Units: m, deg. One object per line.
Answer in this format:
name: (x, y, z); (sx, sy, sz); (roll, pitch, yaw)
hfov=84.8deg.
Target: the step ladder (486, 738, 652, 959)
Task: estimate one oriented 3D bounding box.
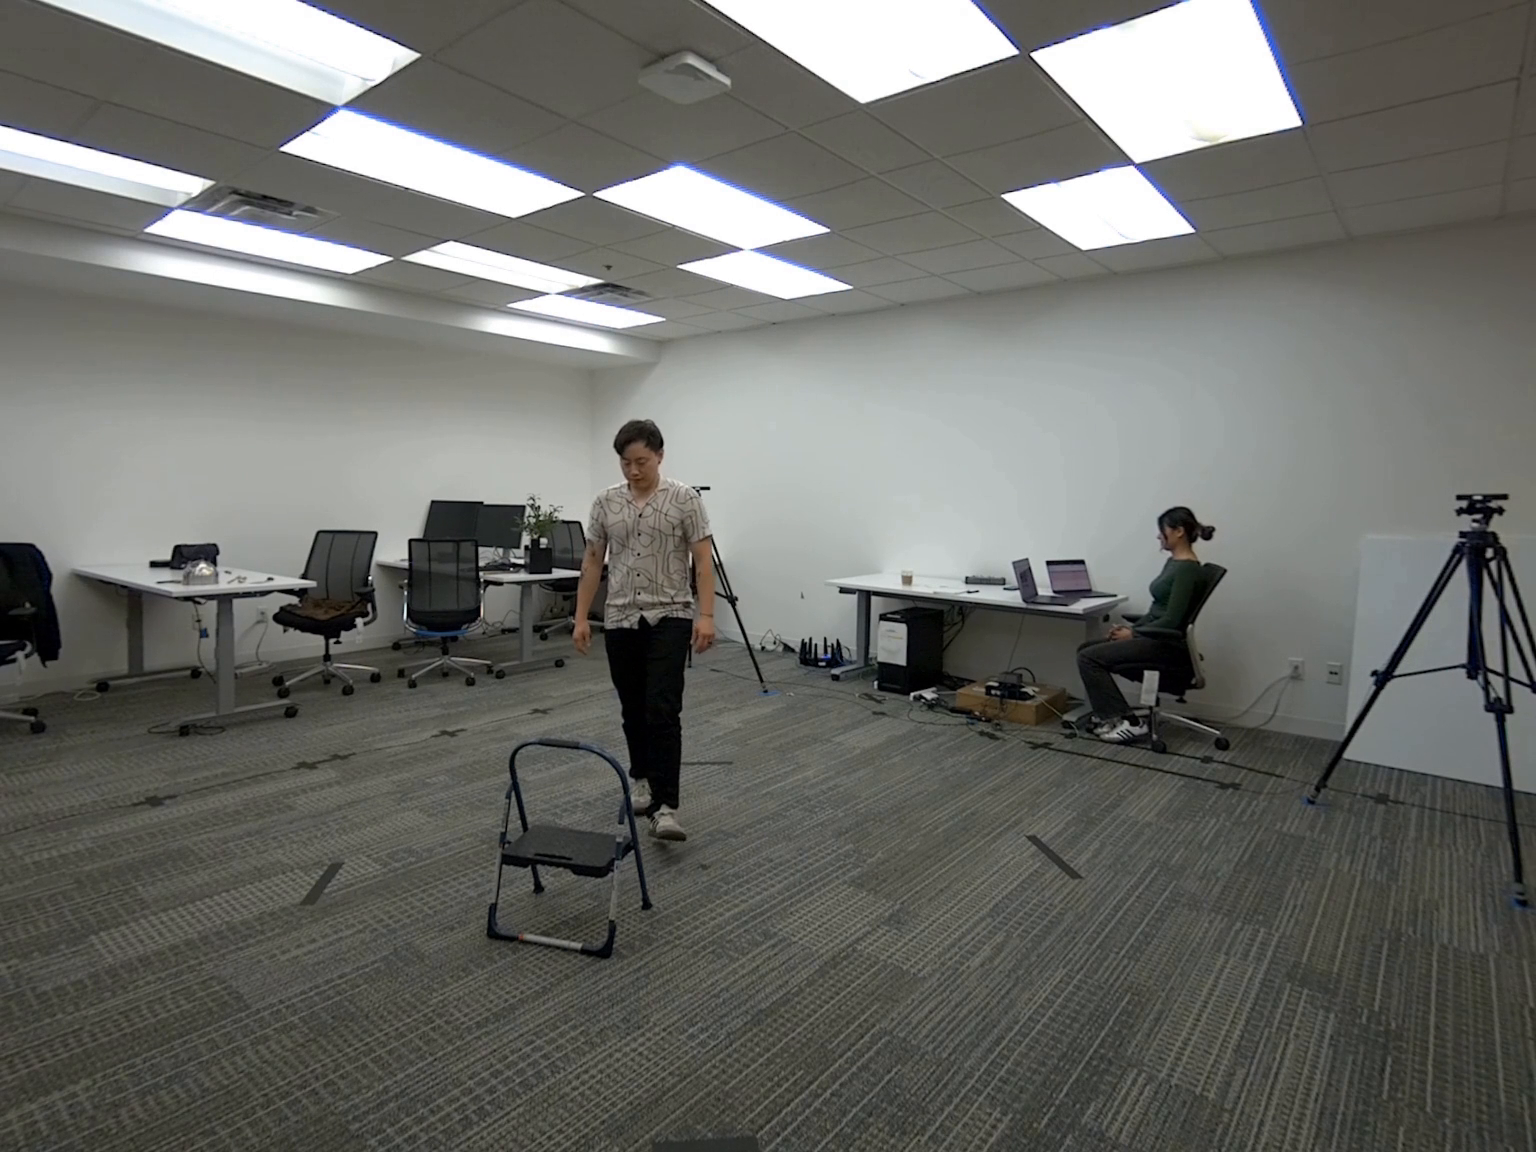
step ladder: (-0.637, 0.796, 2.697); (0.438, 0.604, 0.345); (1, 3, 15)
